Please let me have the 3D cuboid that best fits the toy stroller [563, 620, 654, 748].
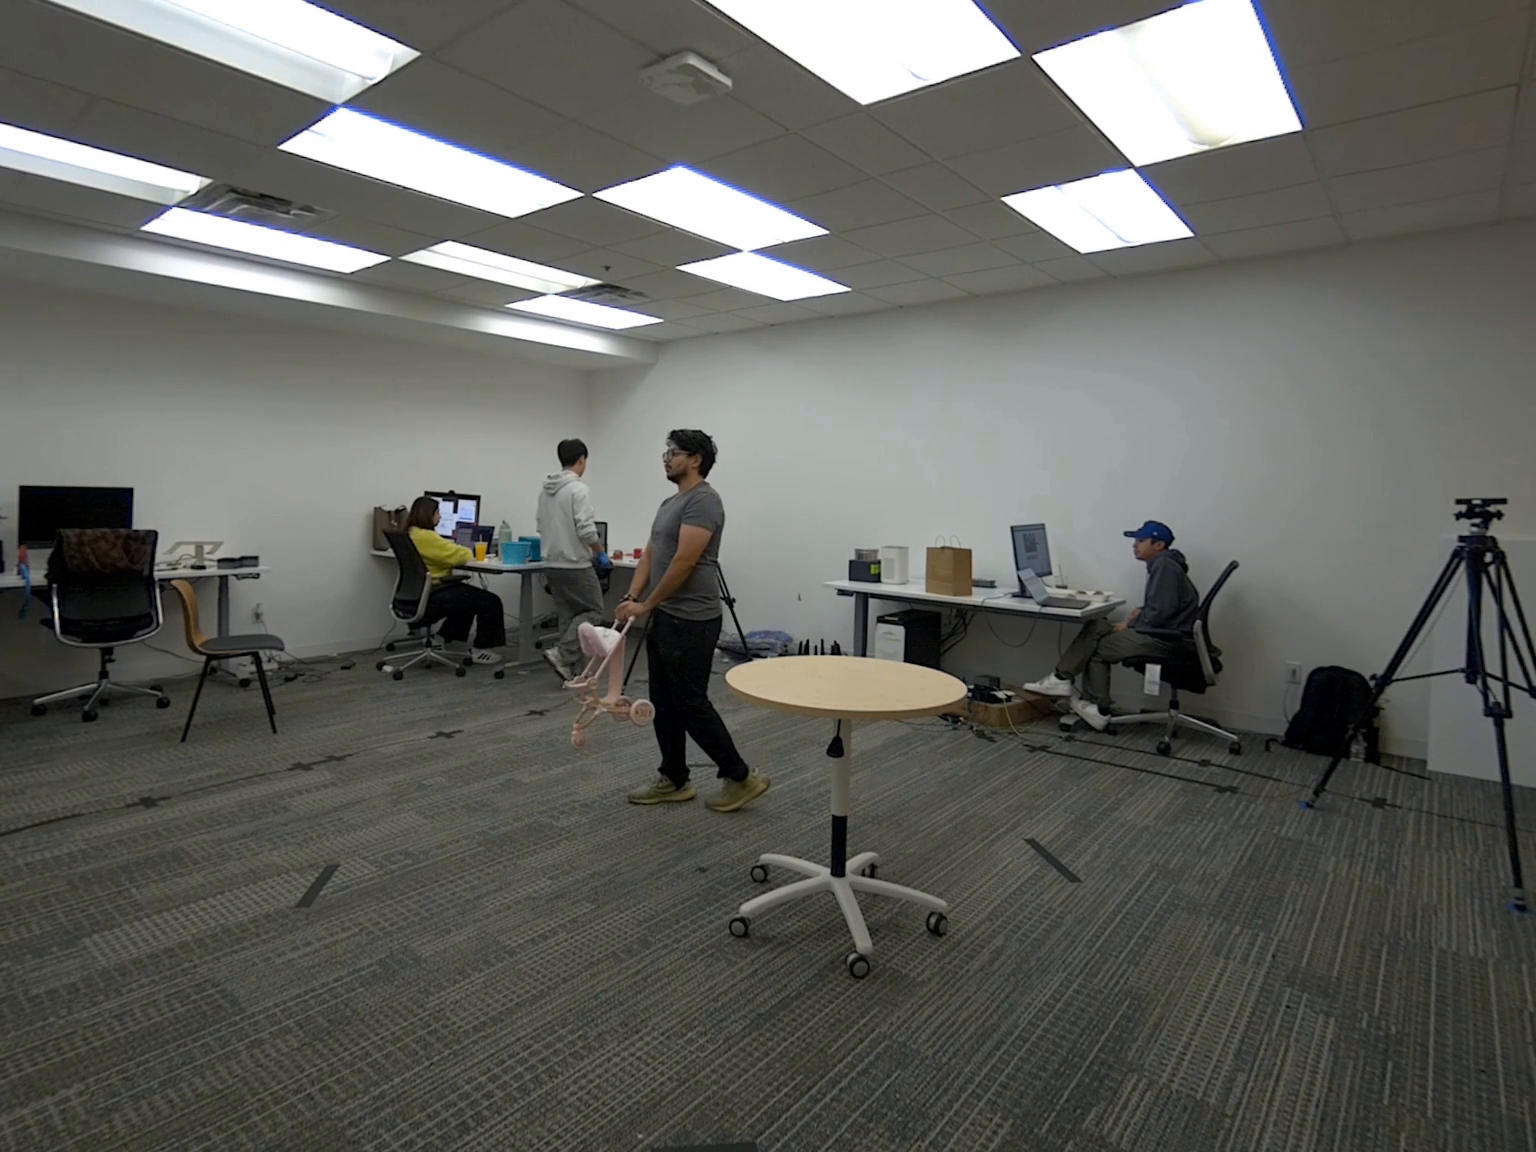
[{"bbox_3d":[-0.696,0.423,3.535,0.334,0.536,0.286,-6,-2,-23],"label":"toy stroller"}]
